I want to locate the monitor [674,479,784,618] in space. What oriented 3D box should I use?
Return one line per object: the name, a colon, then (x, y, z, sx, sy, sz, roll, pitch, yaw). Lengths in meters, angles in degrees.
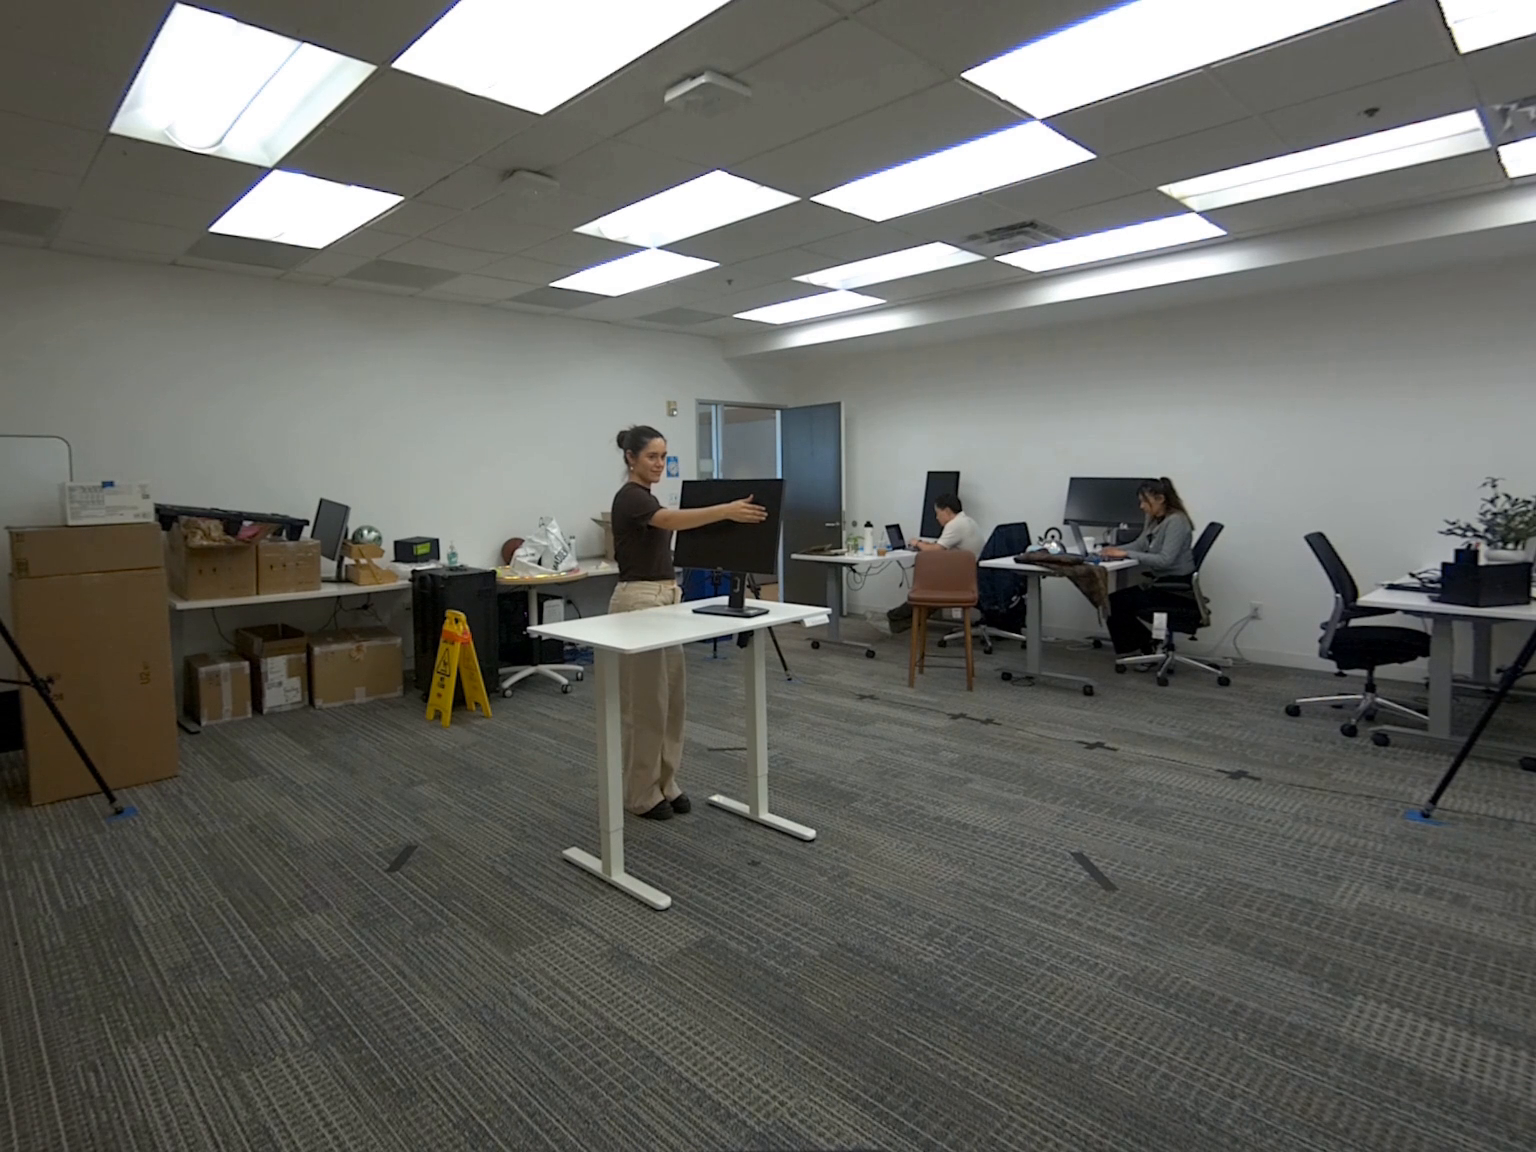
monitor: (-0.134, -0.107, 3.277, 0.556, 0.520, 0.182, 4, 6, 42)
